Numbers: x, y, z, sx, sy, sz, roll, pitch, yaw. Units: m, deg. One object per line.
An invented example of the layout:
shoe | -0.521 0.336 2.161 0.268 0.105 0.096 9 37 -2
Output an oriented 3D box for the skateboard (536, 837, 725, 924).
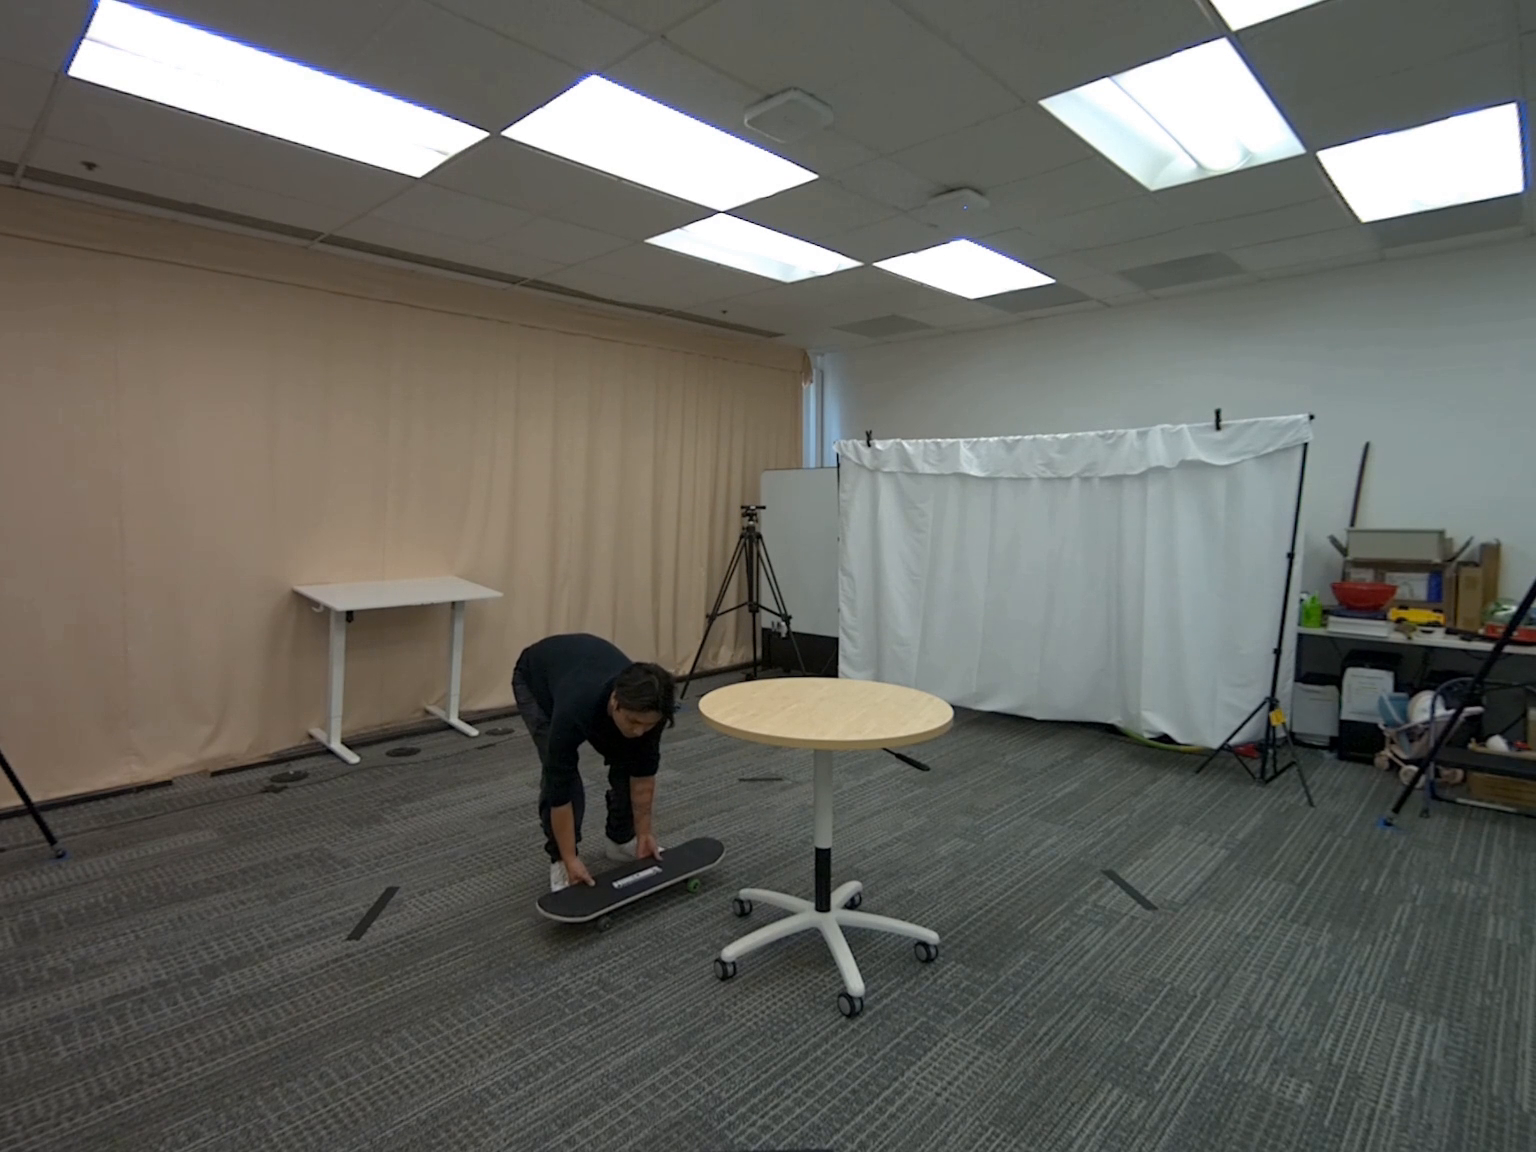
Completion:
skateboard | -0.459 1.086 2.948 0.761 0.110 0.200 -5 11 -44
